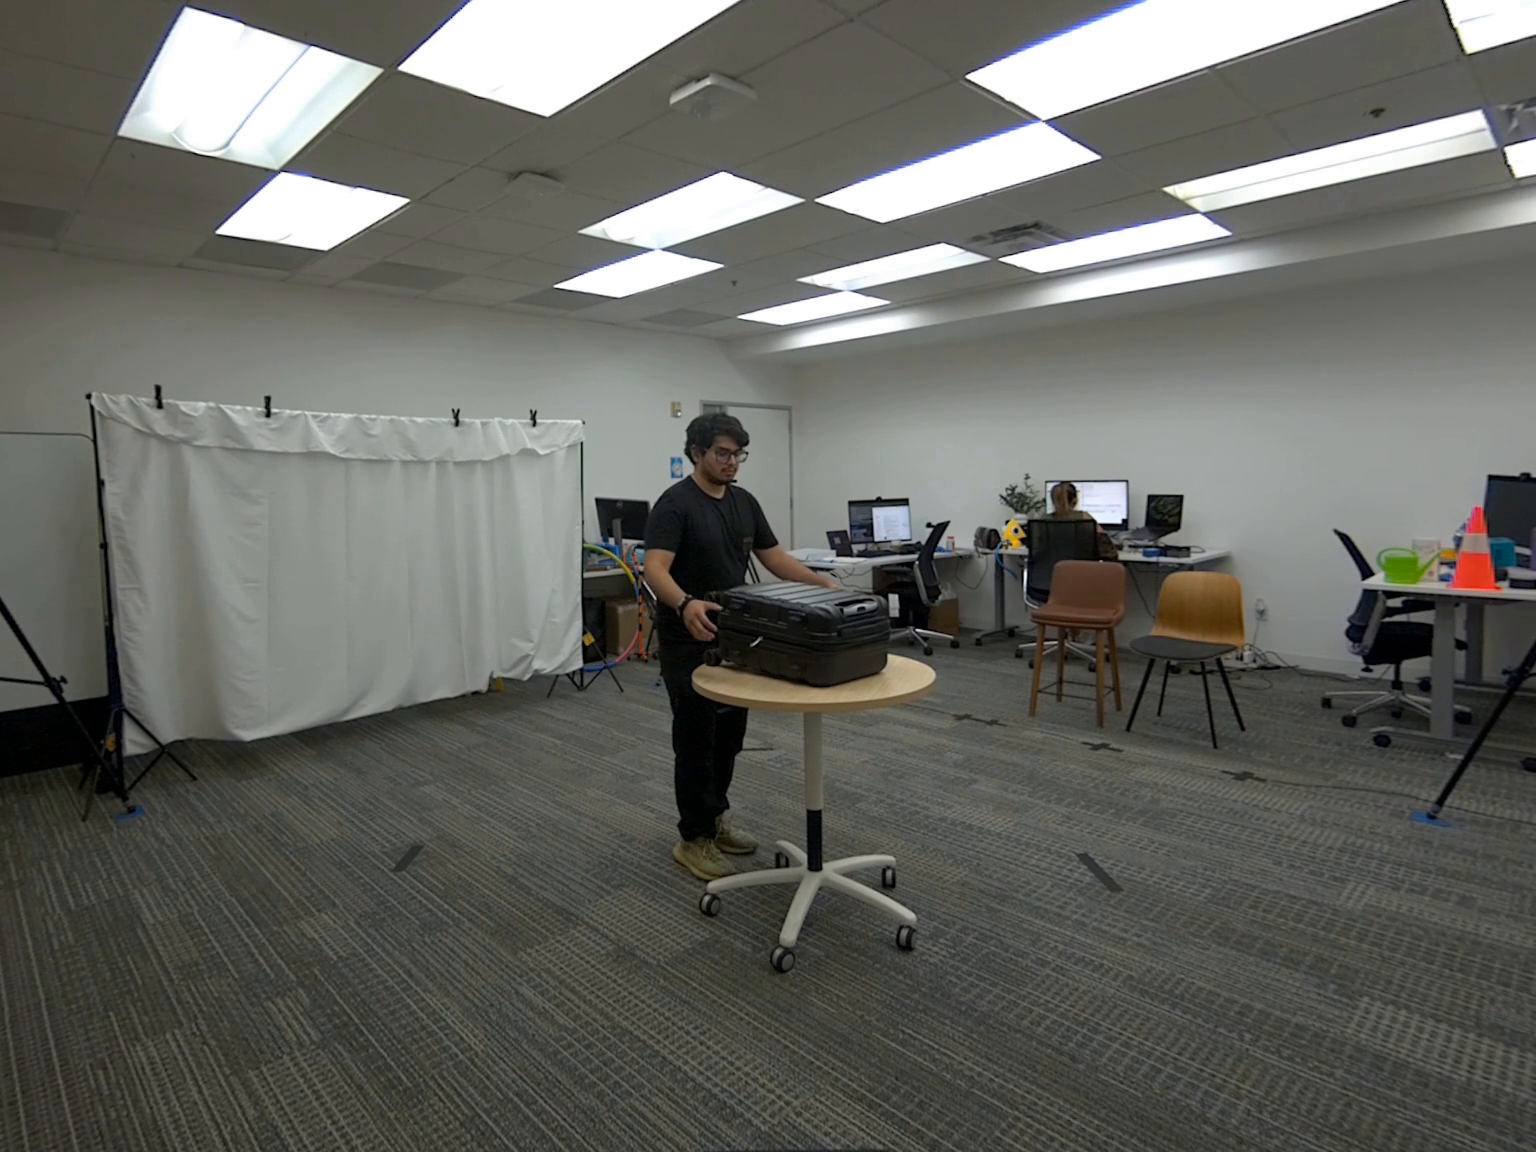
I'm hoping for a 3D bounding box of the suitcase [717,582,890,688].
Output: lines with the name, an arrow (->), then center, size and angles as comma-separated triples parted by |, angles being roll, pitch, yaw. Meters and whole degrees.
suitcase -> 0.109, 0.179, 2.747 | 0.567, 0.247, 0.365 | 6, 8, 44
